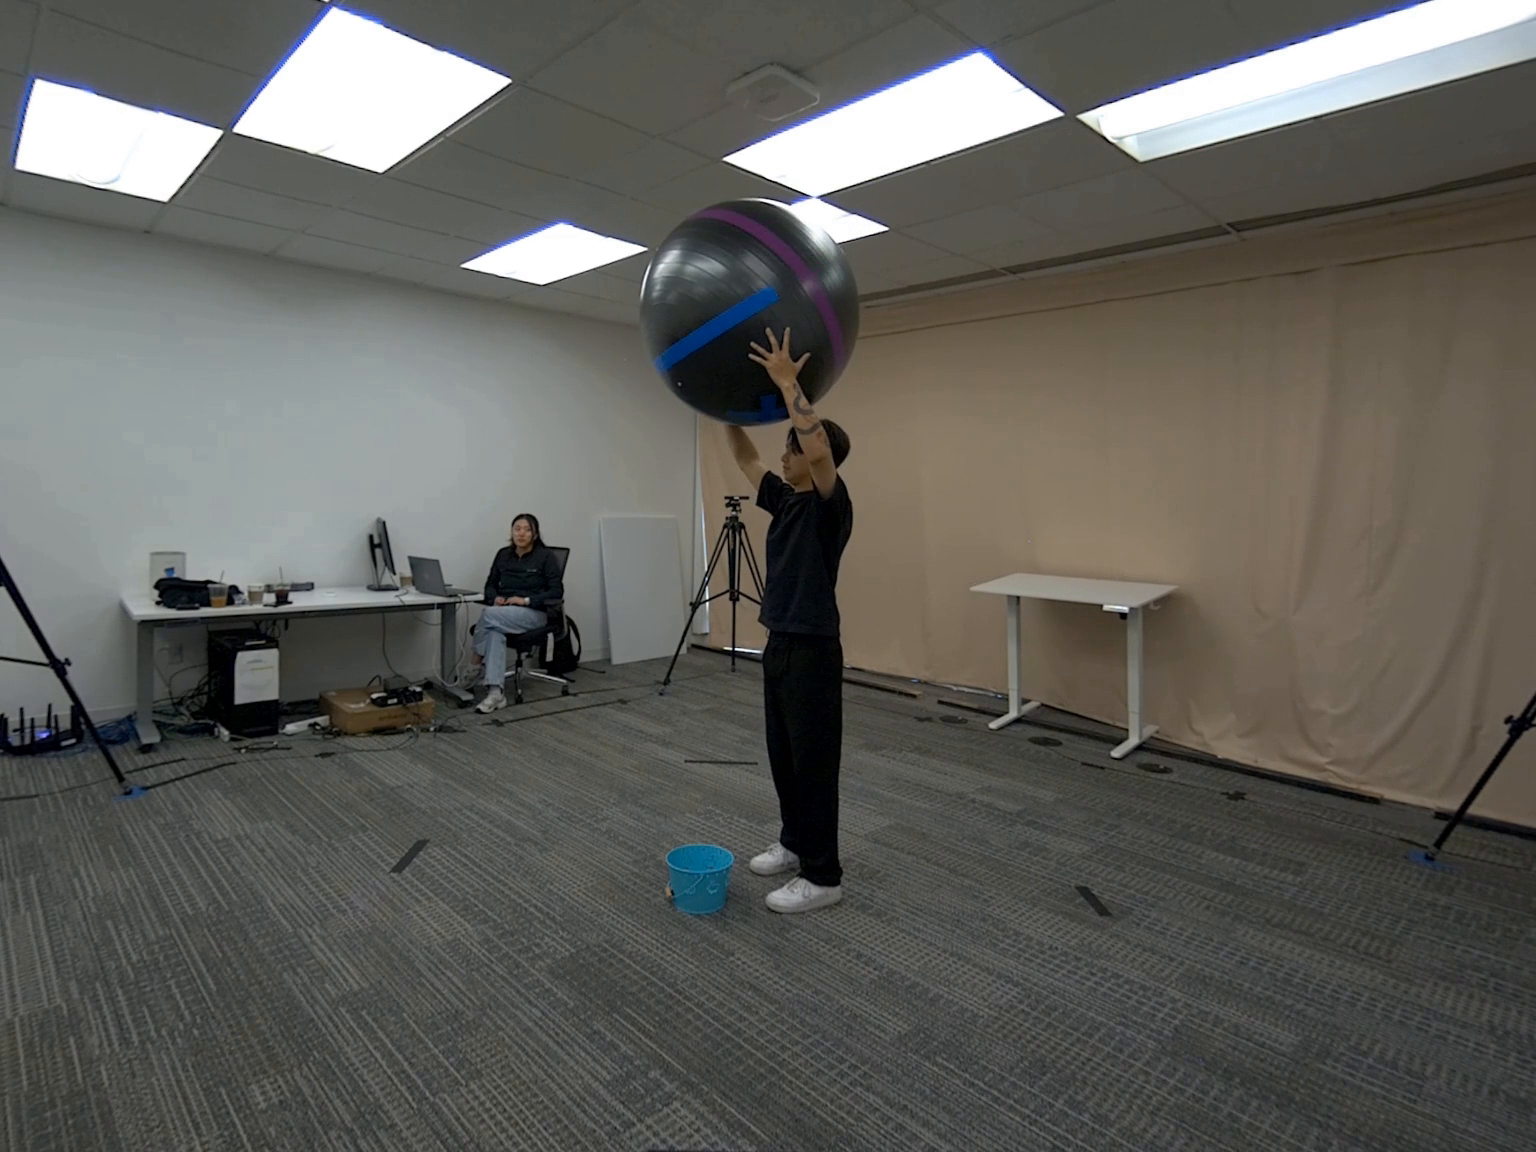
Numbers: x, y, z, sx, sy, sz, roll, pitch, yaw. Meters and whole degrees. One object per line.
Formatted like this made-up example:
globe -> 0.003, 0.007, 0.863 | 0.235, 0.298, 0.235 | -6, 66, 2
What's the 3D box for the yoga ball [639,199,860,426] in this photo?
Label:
yoga ball -> -0.067, -0.900, 2.931 | 0.757, 0.756, 0.761 | 1, 4, -1
